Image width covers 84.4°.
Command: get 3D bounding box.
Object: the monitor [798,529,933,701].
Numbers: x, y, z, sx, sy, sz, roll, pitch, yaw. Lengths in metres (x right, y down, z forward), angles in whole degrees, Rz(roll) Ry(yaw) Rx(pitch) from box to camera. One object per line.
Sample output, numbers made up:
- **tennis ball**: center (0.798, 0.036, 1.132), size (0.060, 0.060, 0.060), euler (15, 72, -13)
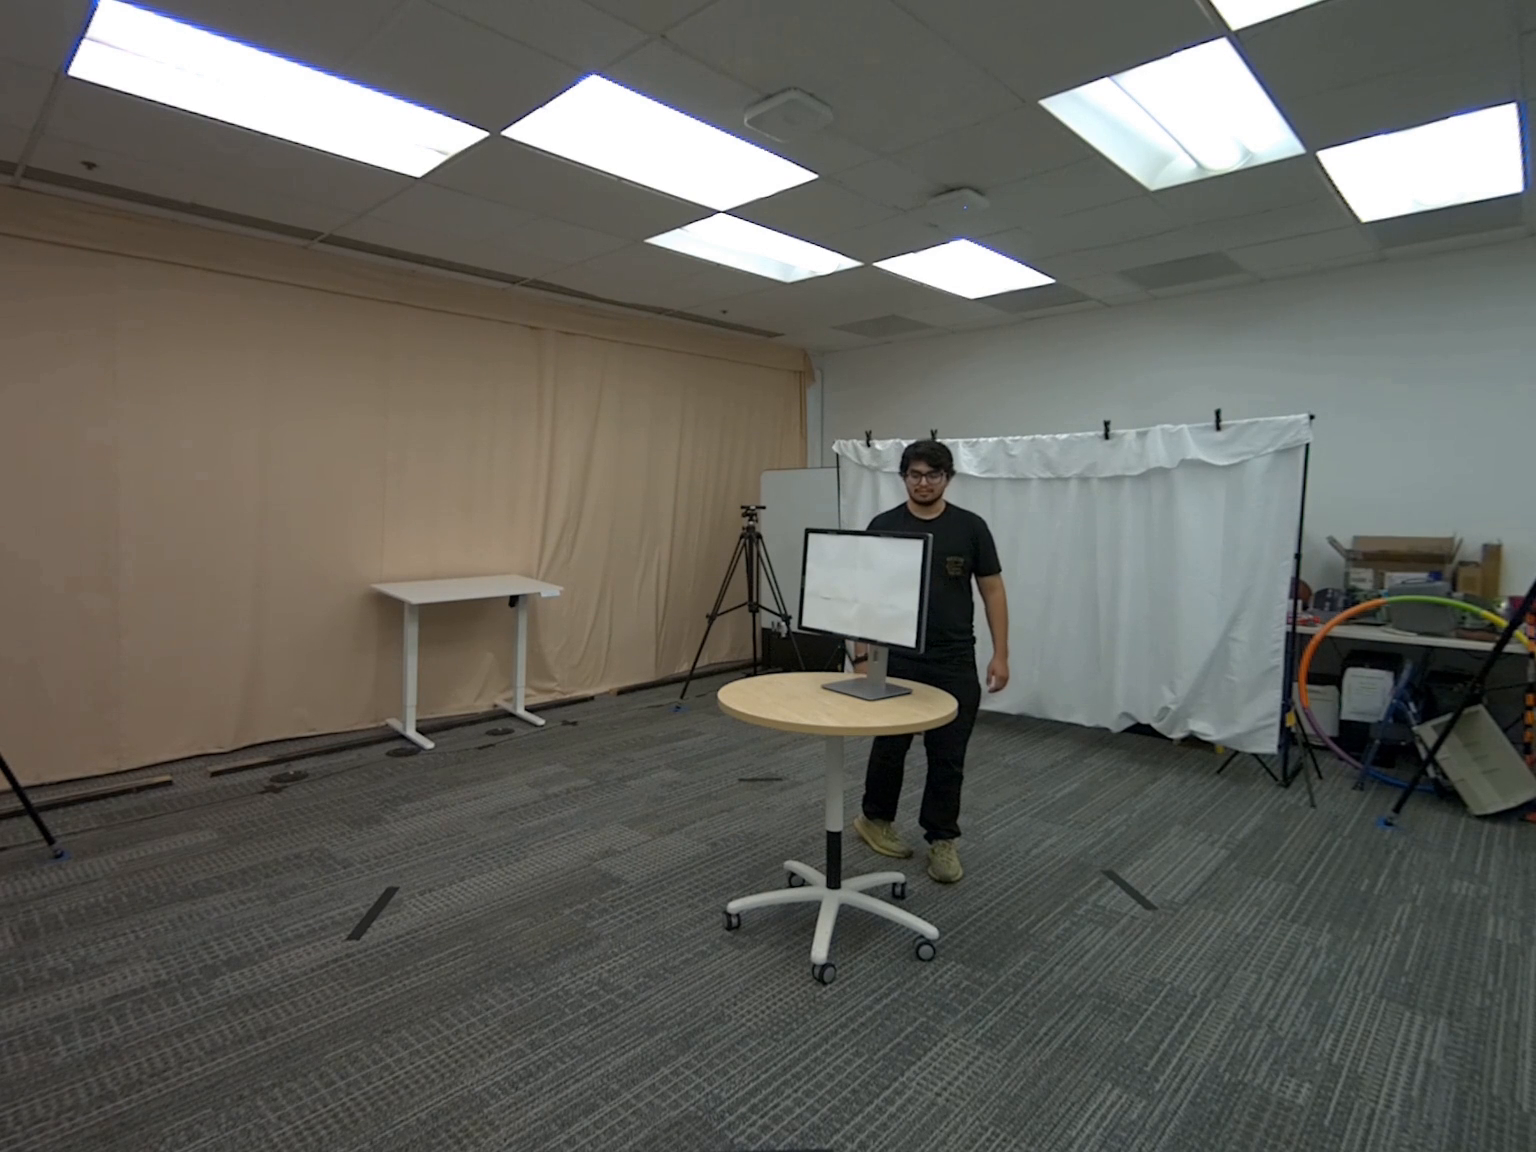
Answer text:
- **monitor**: center (0.356, 0.120, 2.806), size (0.204, 0.553, 0.584), euler (0, 3, -38)
